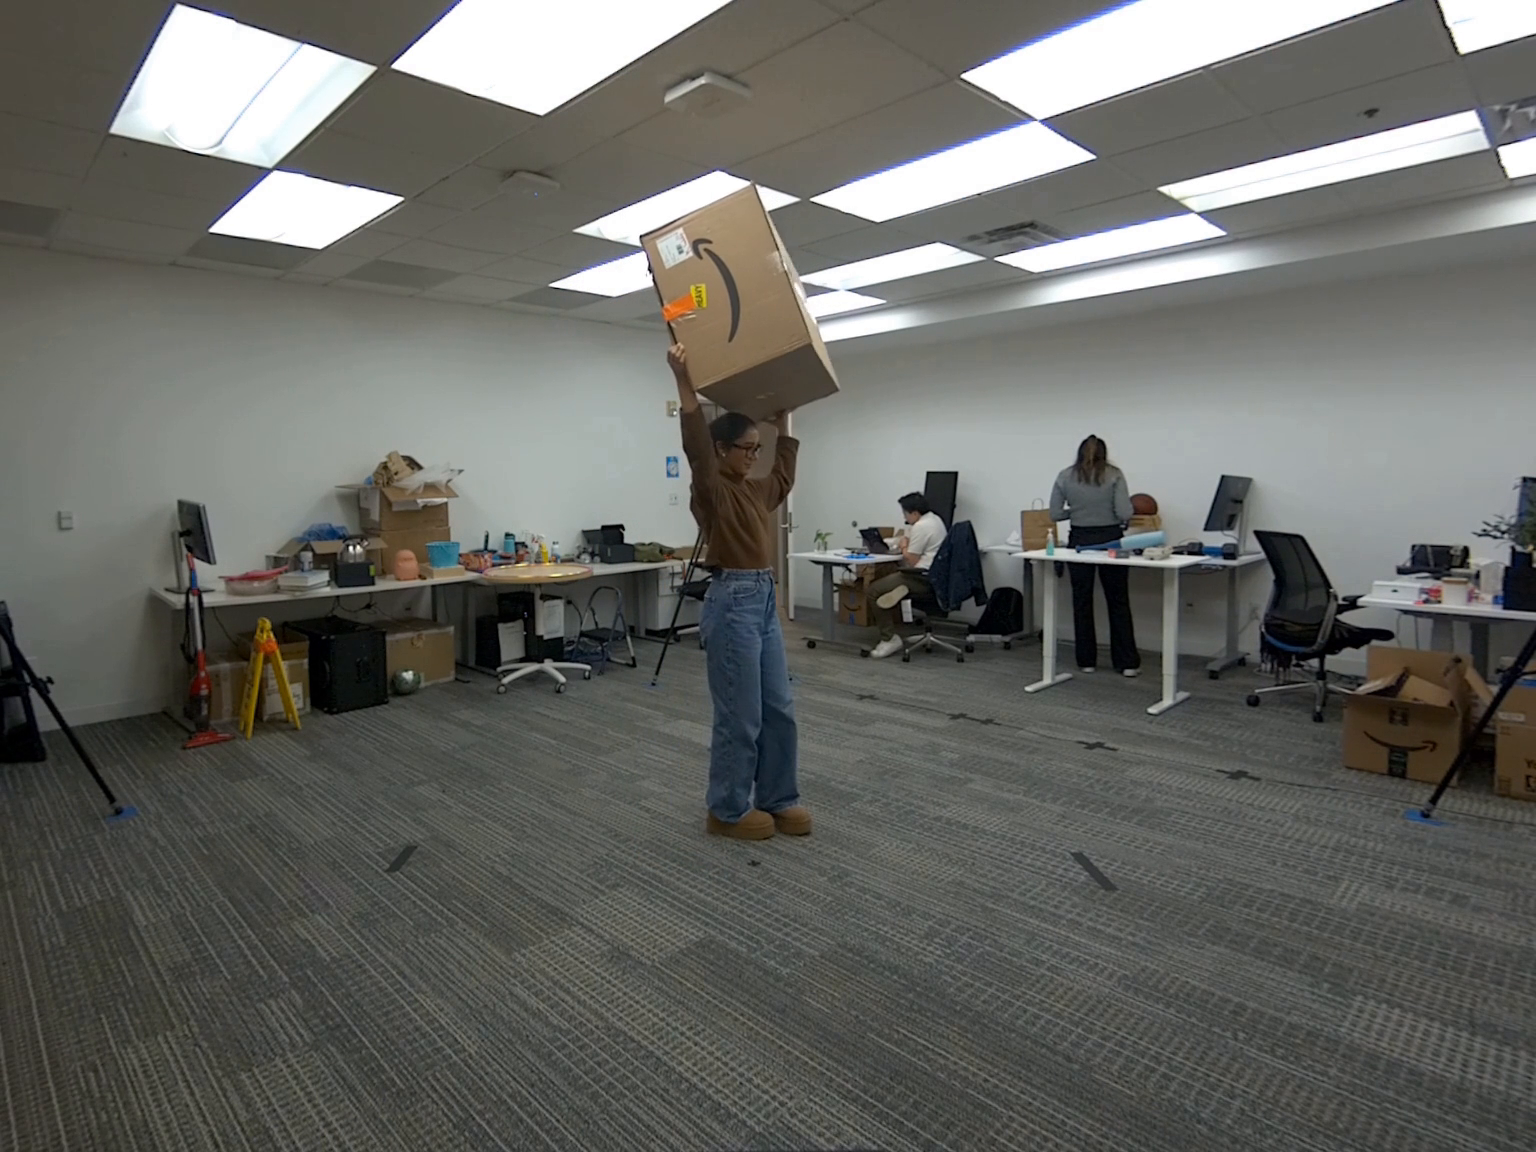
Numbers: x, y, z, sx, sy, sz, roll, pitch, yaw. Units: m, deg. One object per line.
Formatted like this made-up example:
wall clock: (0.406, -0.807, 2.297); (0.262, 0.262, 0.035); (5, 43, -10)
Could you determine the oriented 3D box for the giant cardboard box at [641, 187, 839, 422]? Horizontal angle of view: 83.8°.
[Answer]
giant cardboard box: (-0.062, -0.979, 3.320); (0.429, 0.579, 1.015); (-20, -1, 11)
